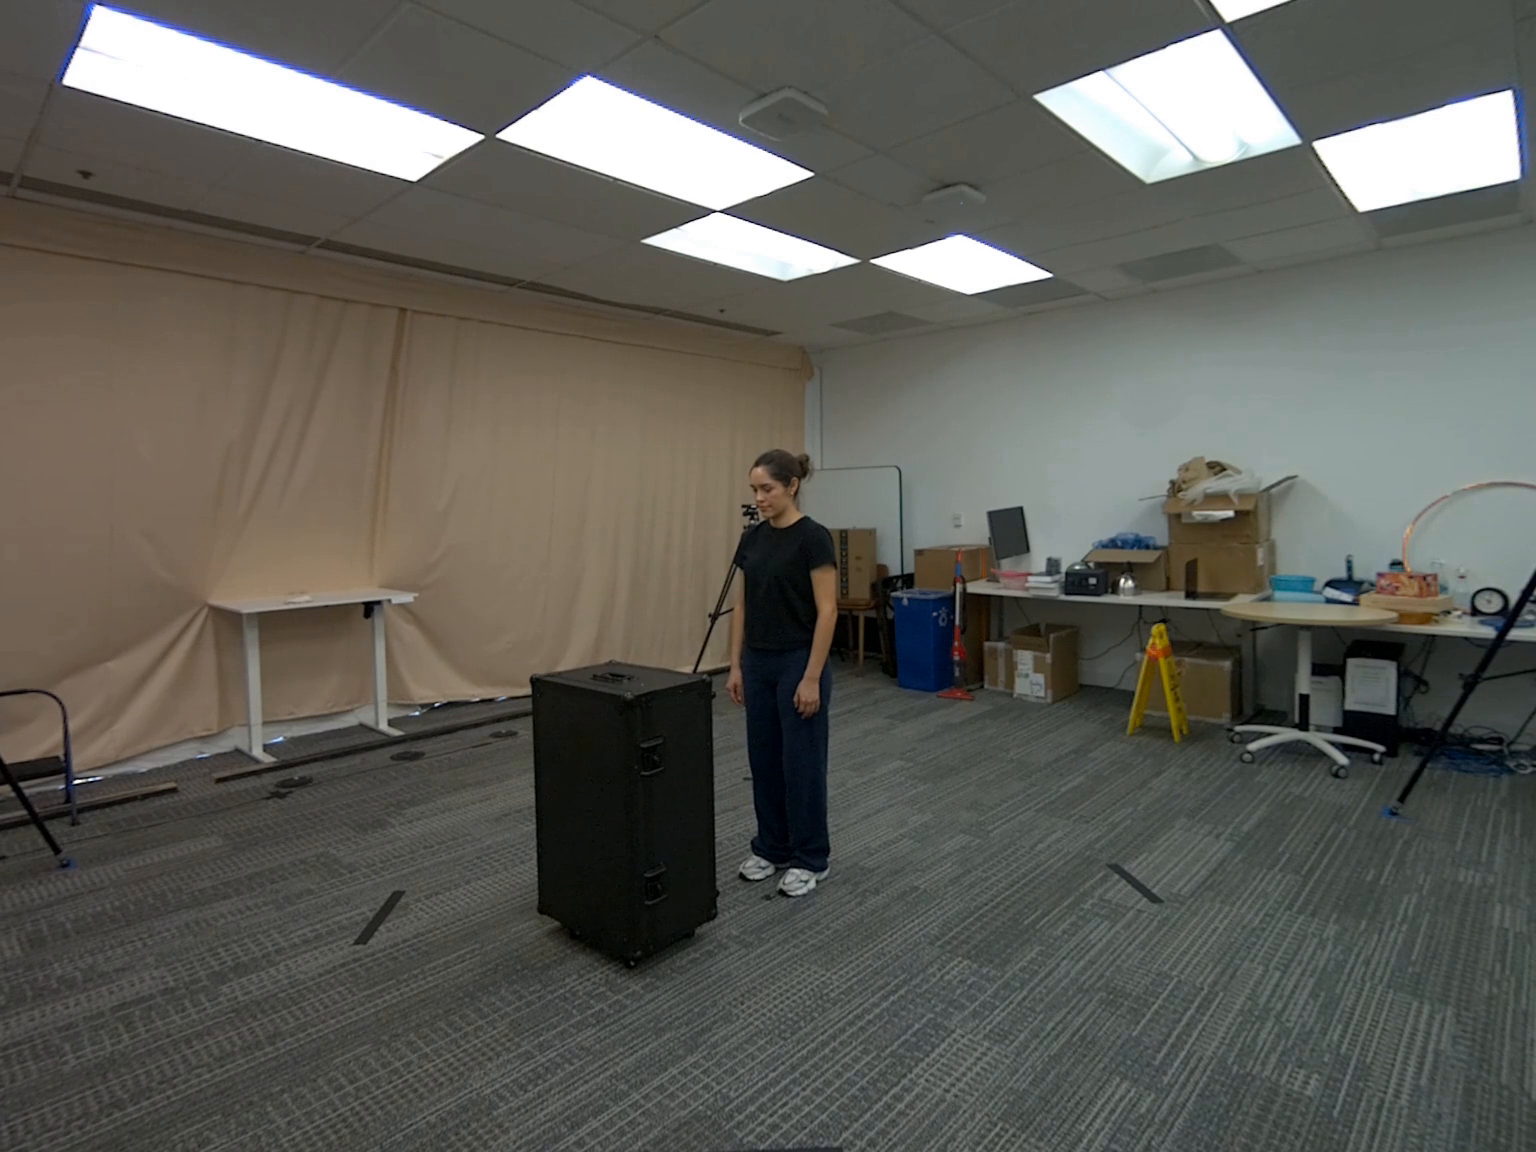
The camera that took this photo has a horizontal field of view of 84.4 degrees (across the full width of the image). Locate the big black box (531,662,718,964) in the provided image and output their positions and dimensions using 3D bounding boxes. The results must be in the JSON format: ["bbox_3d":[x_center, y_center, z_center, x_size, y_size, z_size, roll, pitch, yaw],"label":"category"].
[{"bbox_3d":[-0.448,0.745,2.725,0.538,0.860,0.384,1,3,41],"label":"big black box"}]
